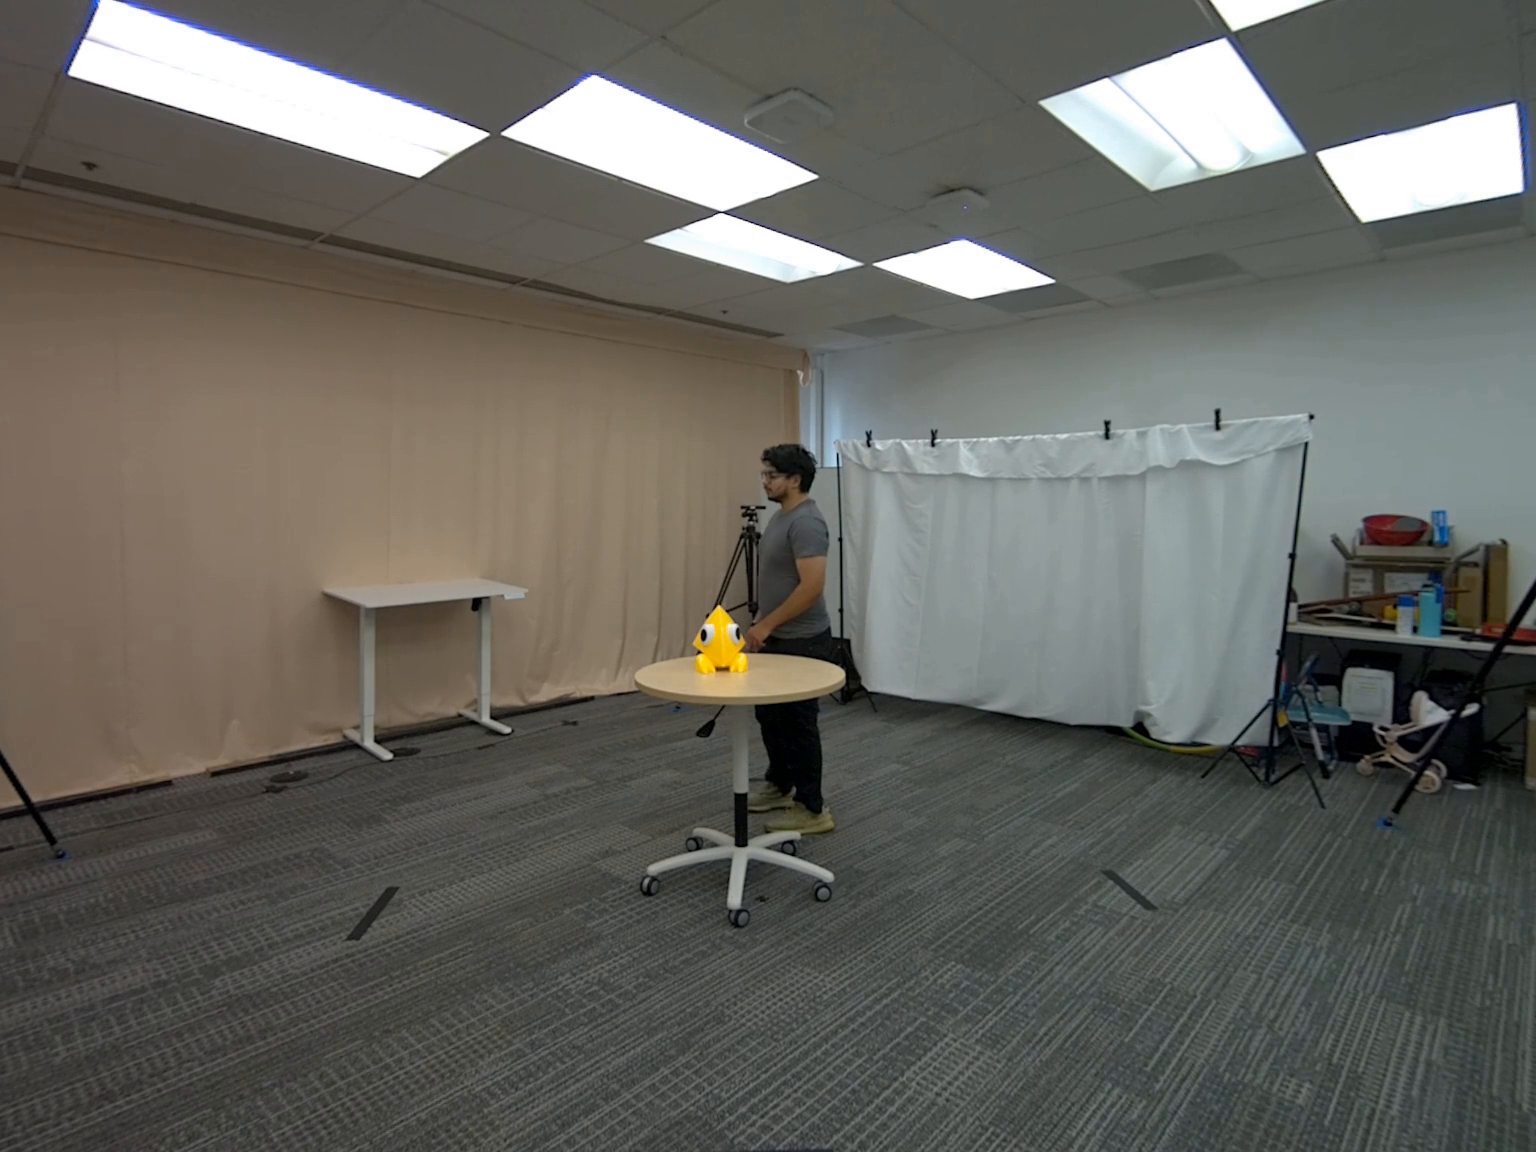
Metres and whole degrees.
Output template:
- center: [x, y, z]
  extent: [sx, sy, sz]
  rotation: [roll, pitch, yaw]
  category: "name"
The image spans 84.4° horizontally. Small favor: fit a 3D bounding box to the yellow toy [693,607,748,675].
- center: [-0.176, 0.233, 3.157]
  extent: [0.204, 0.230, 0.194]
  rotation: [0, 4, -5]
  category: "yellow toy"
